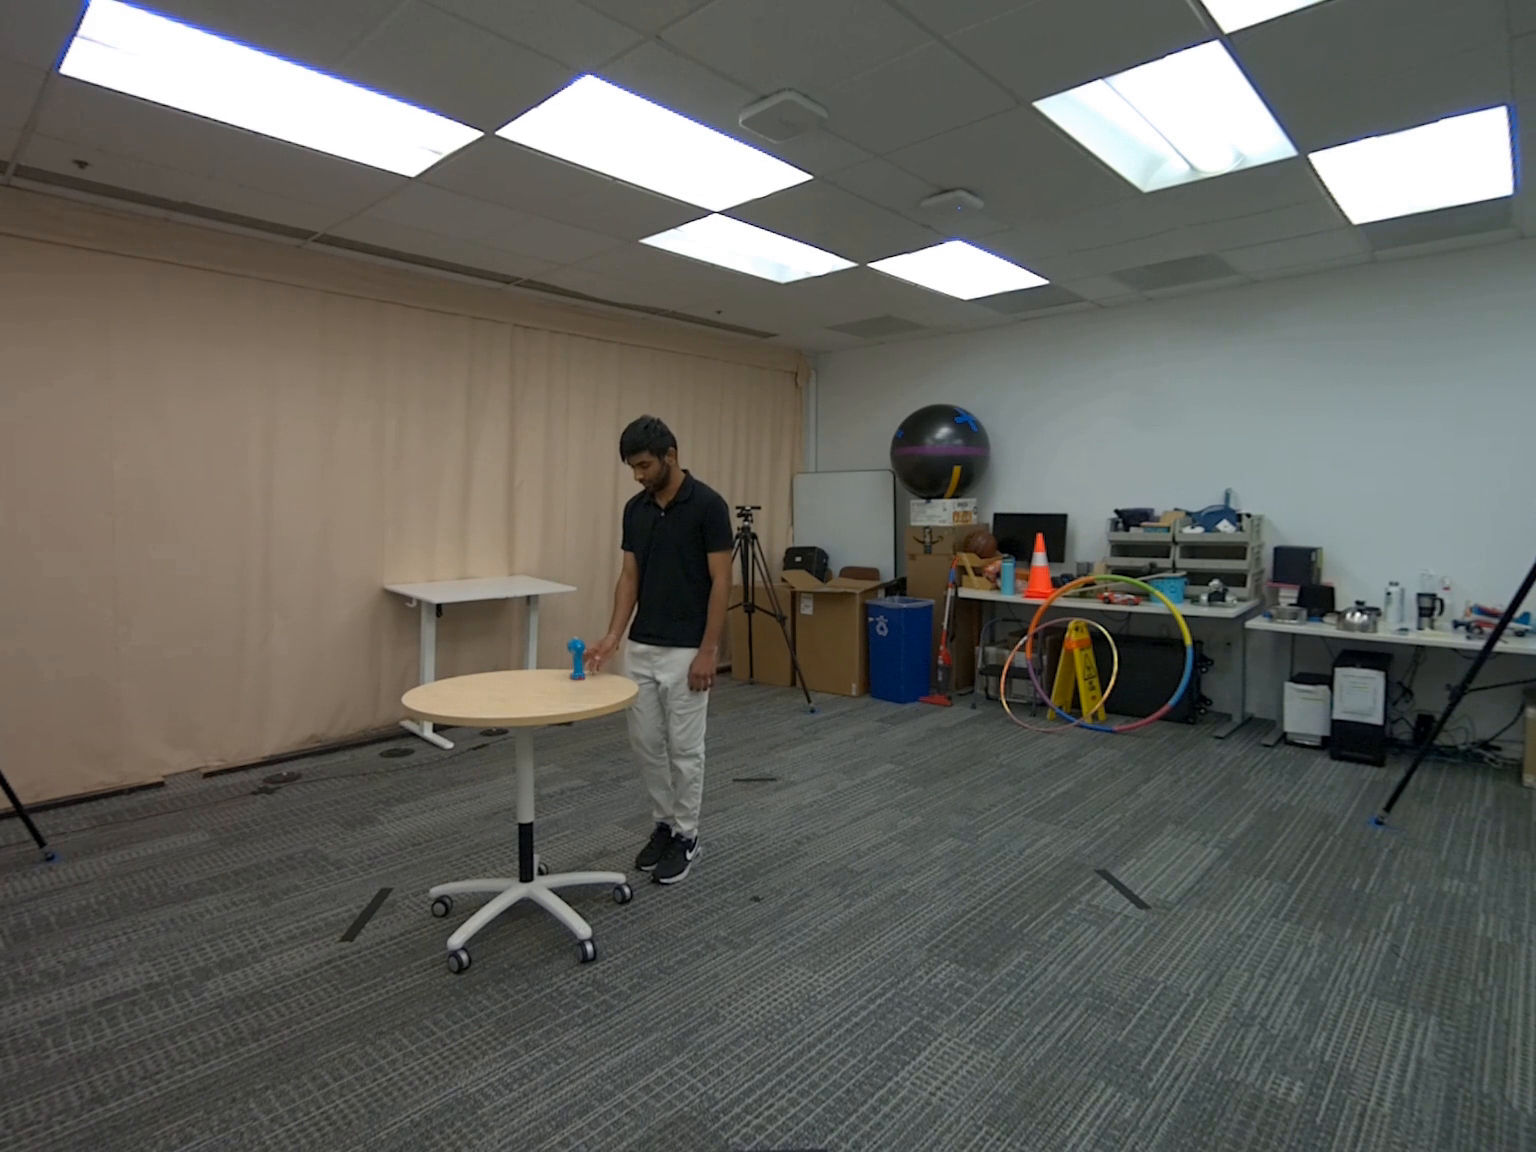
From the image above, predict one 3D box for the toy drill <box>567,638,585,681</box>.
[{"bbox_3d":[-0.692,0.291,3.037,0.060,0.146,0.174,-6,4,-24],"label":"toy drill"}]
